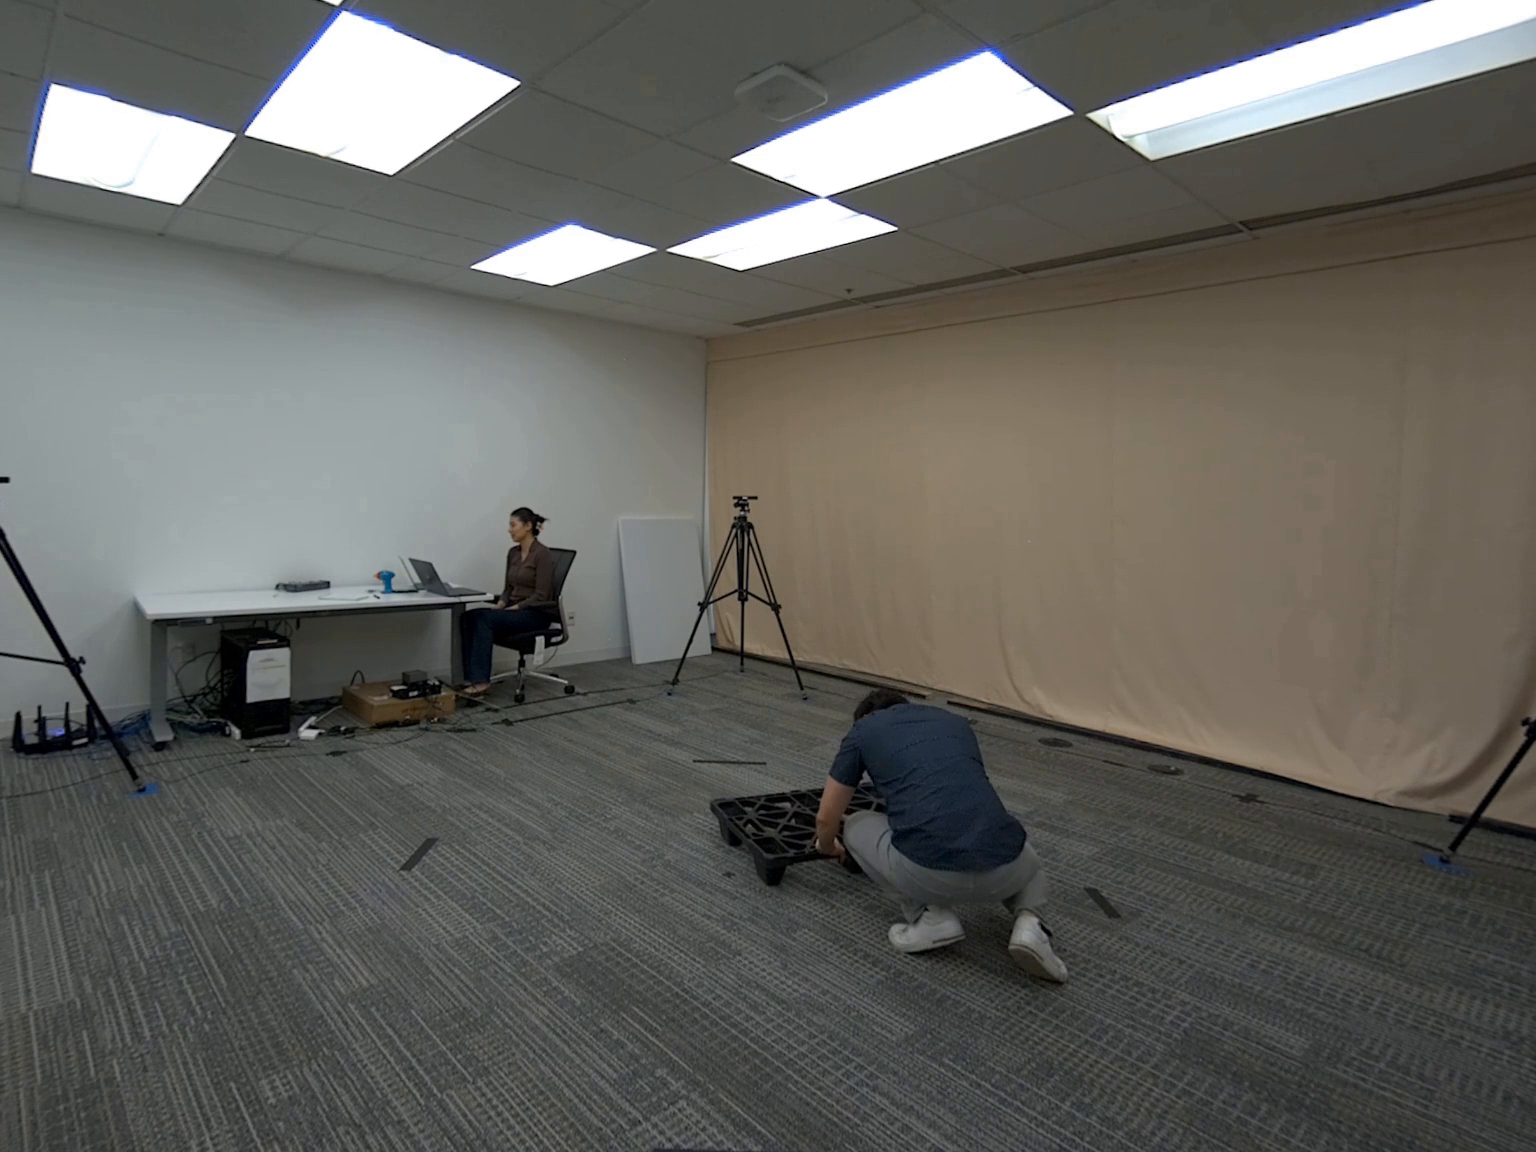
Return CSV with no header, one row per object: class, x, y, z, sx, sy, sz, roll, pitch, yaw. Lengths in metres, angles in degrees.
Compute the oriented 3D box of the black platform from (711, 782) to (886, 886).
black platform,0.226,1.021,3.366,0.792,0.143,0.616,0,5,-22
